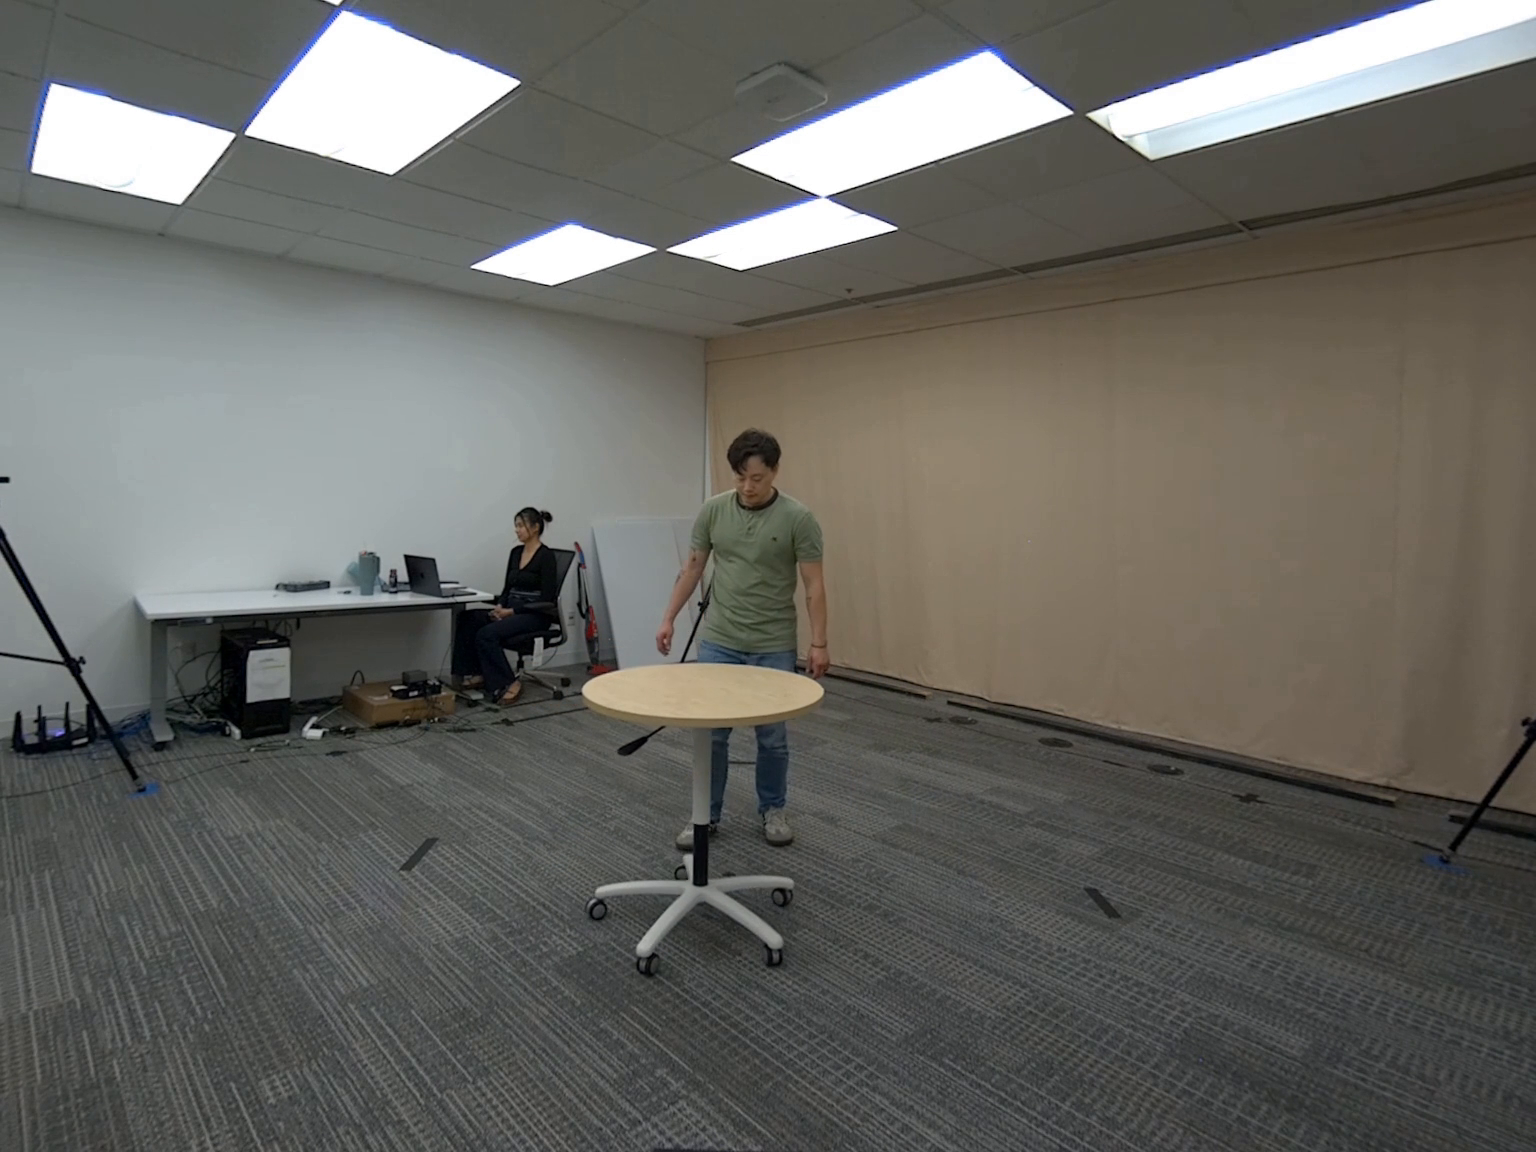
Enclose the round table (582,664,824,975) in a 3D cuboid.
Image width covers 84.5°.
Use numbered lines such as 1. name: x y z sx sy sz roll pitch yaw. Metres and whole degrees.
1. round table: -0.226 0.749 2.709 0.763 0.792 0.766 1 4 -1
